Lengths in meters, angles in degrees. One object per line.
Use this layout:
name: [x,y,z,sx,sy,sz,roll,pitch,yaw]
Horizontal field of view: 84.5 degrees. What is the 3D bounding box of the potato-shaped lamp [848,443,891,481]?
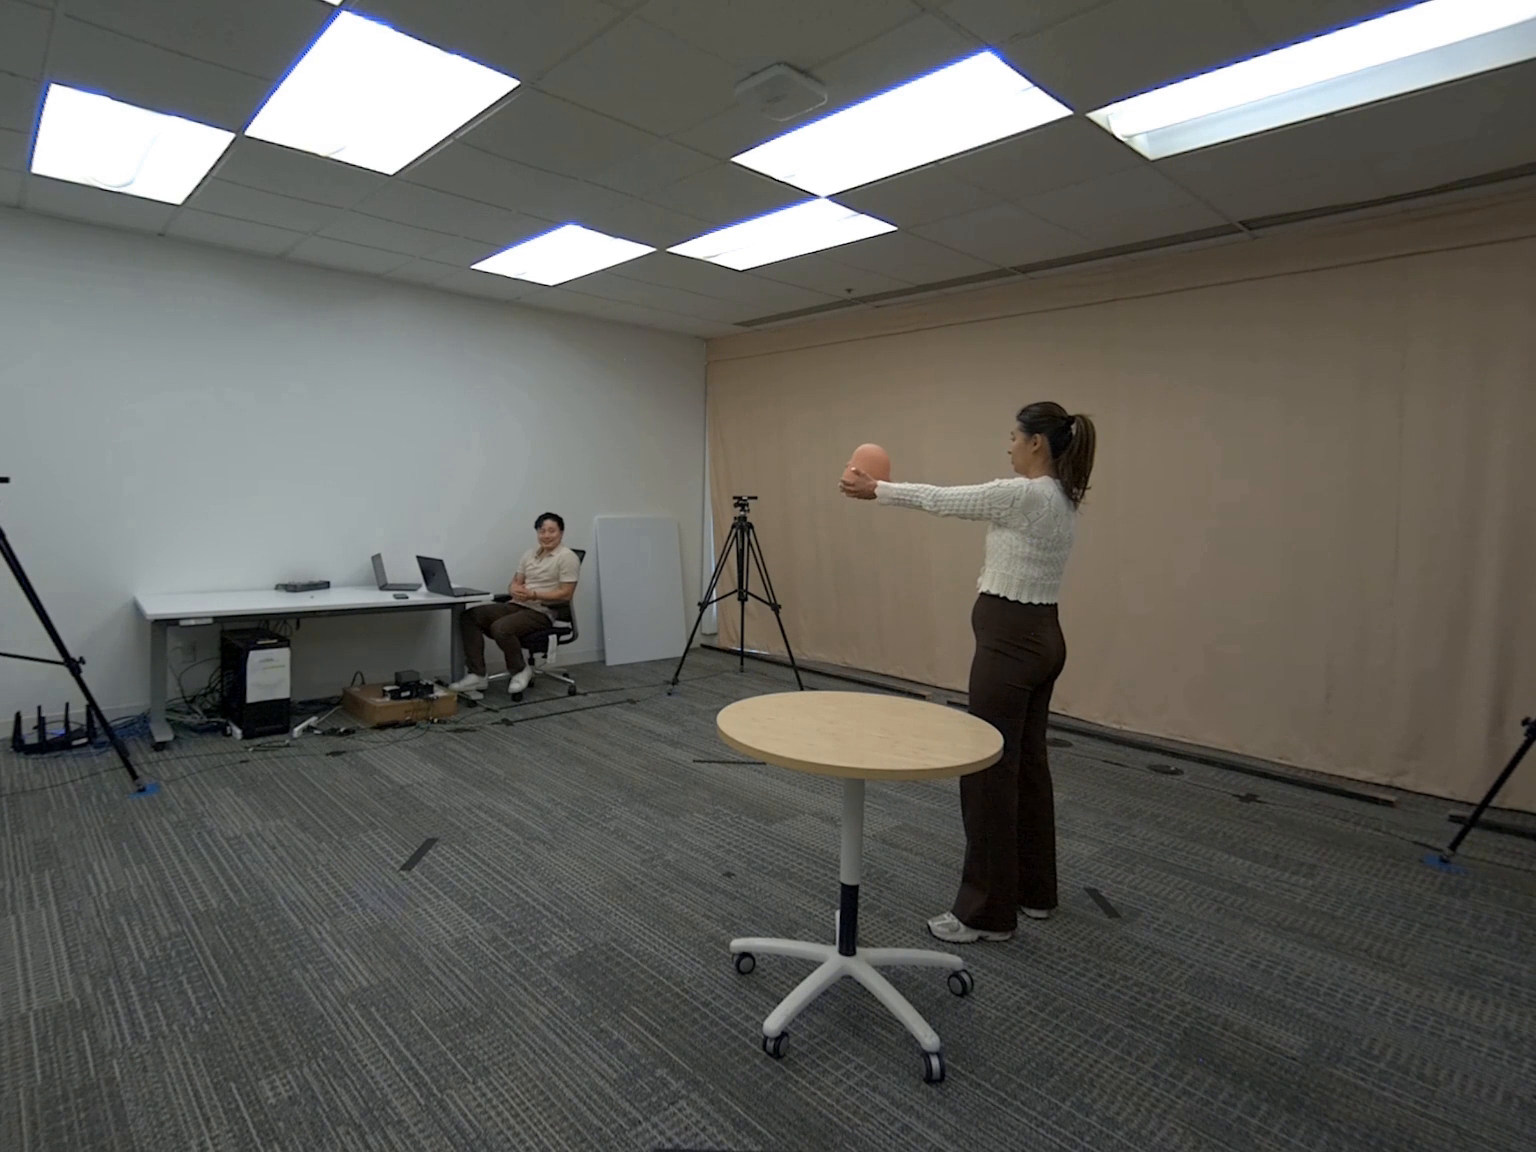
potato-shaped lamp: [0.363,-0.393,3.149,0.161,0.198,0.176,2,5,-43]
